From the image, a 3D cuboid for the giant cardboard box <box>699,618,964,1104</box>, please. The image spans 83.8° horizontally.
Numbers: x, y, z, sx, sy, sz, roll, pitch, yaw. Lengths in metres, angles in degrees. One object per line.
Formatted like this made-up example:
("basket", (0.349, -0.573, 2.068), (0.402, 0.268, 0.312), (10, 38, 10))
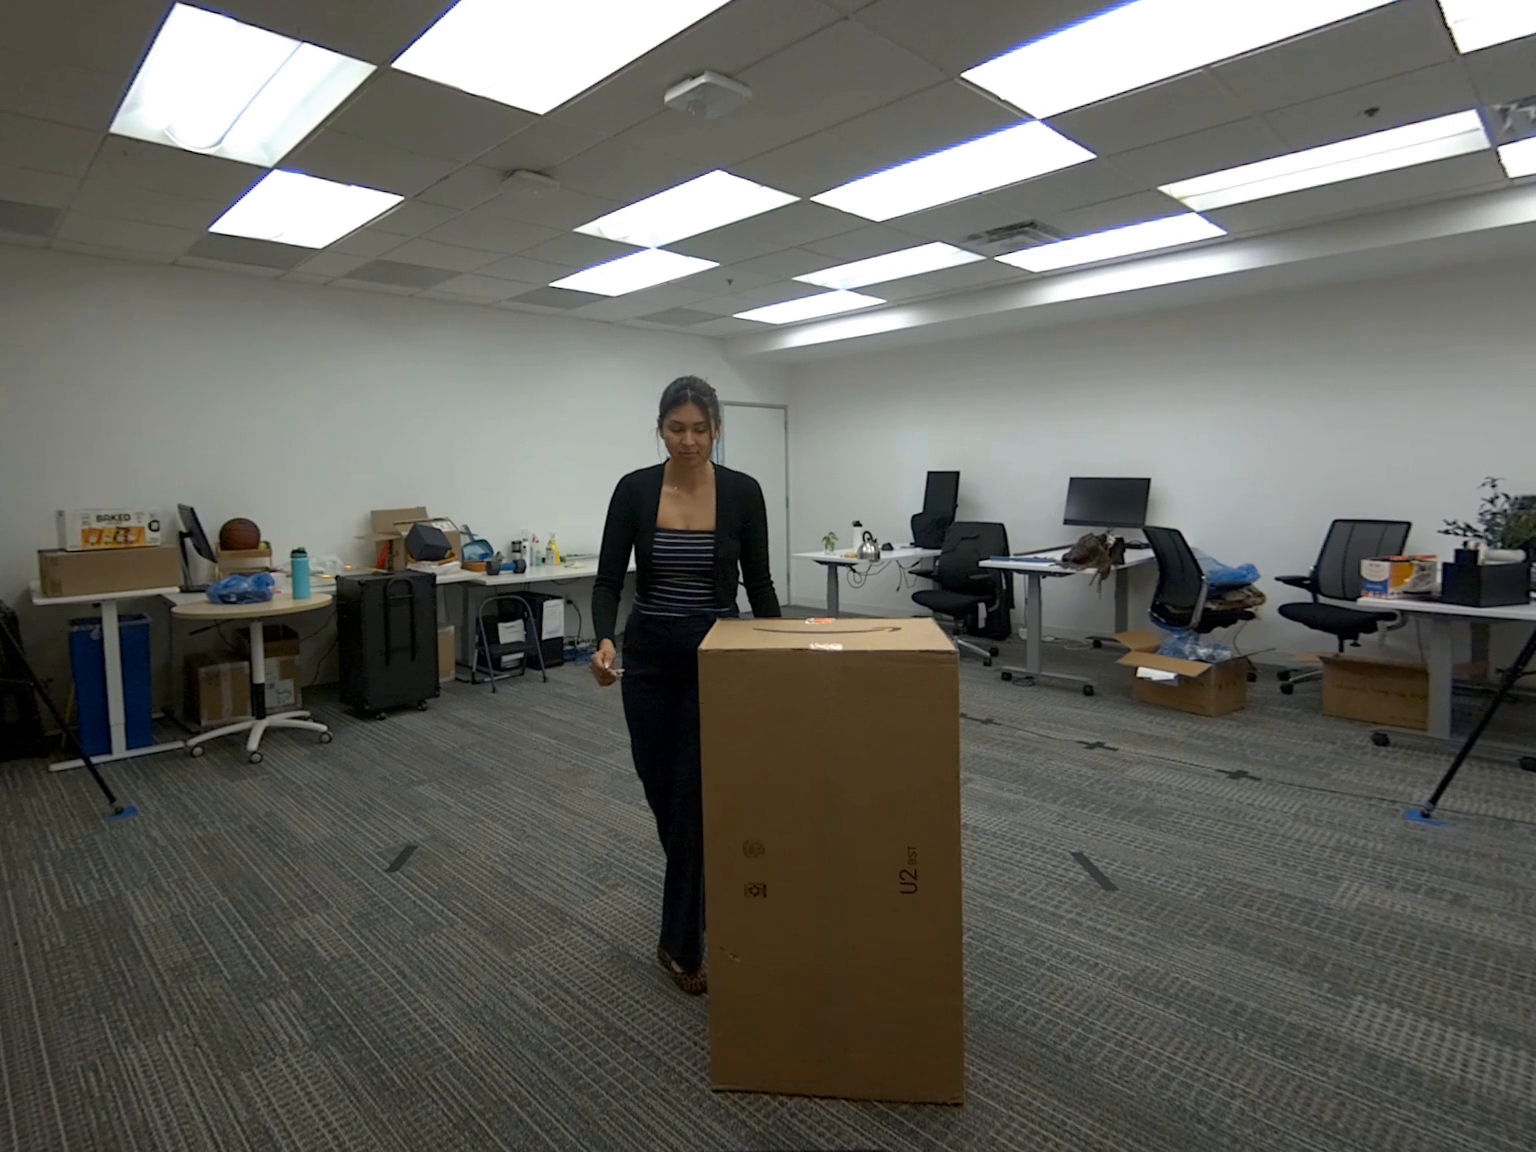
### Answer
("giant cardboard box", (0.160, 0.647, 2.096), (0.581, 1.022, 0.425), (-1, 3, 6))
